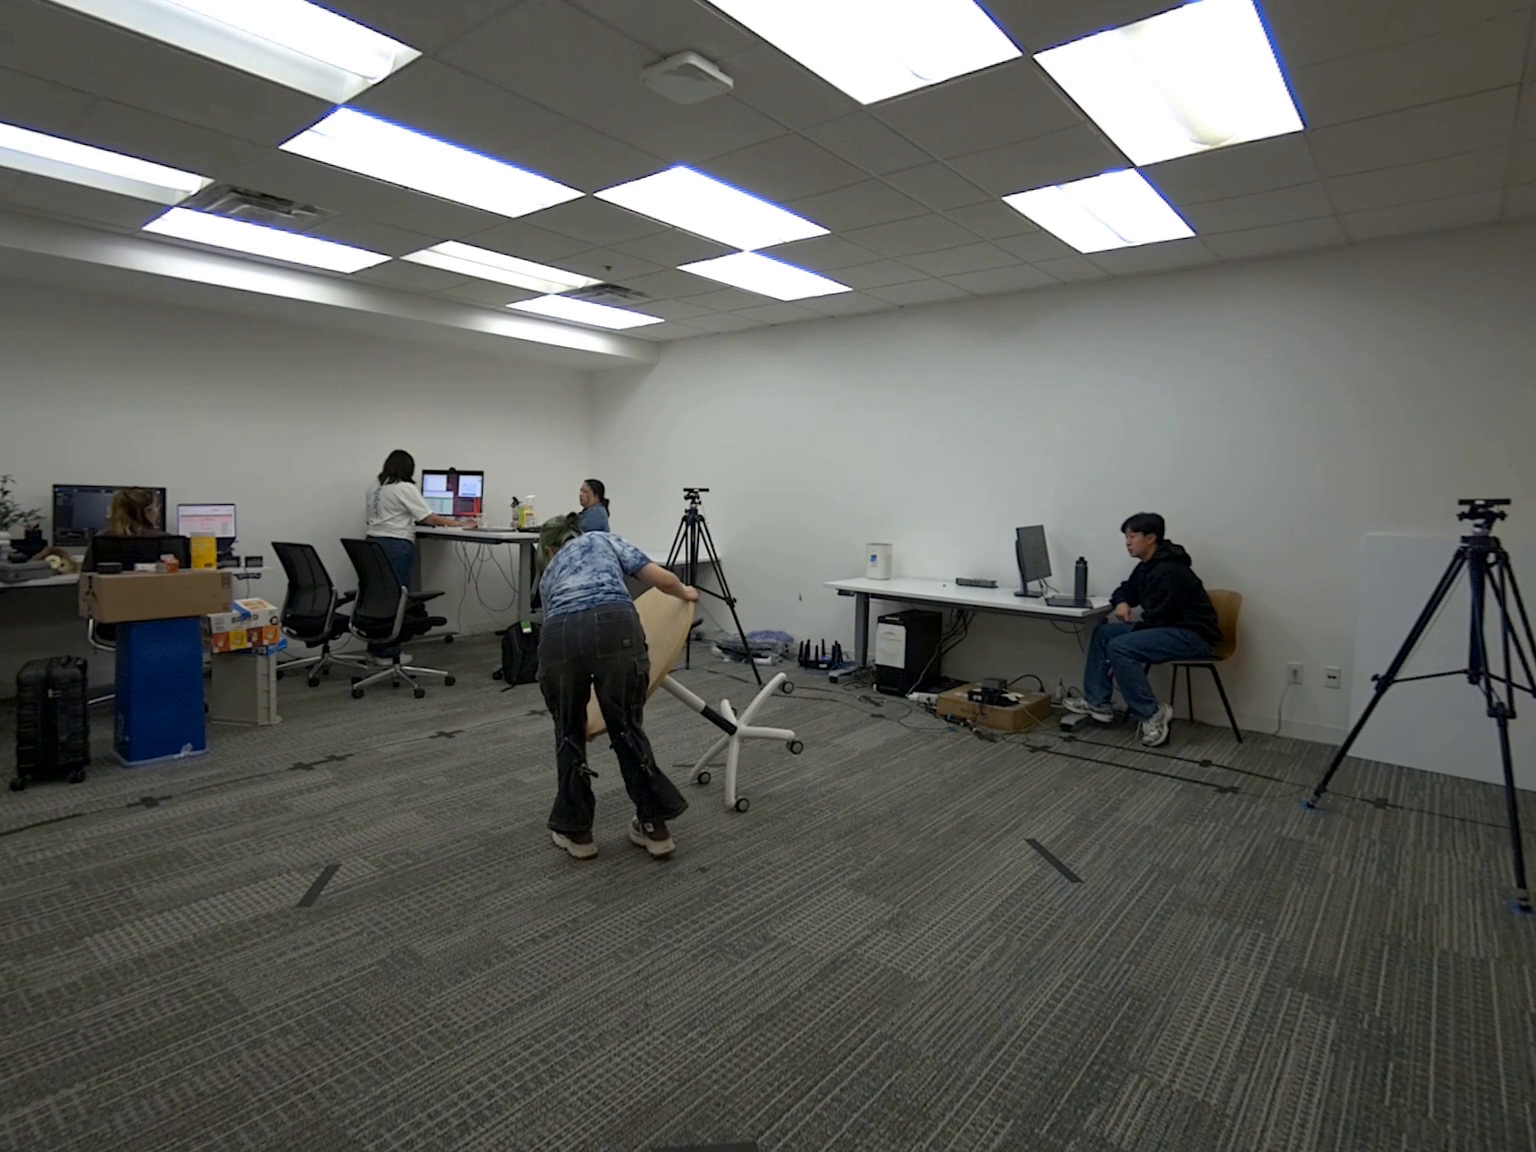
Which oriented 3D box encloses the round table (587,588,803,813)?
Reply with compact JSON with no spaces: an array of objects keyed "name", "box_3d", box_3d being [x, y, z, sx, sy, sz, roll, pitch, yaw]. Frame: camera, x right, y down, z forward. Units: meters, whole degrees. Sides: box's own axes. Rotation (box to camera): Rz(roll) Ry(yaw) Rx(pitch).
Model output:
[{"name":"round table","box_3d":[-0.344,0.557,3.787,0.770,0.766,0.786,40,-14,-24]}]
